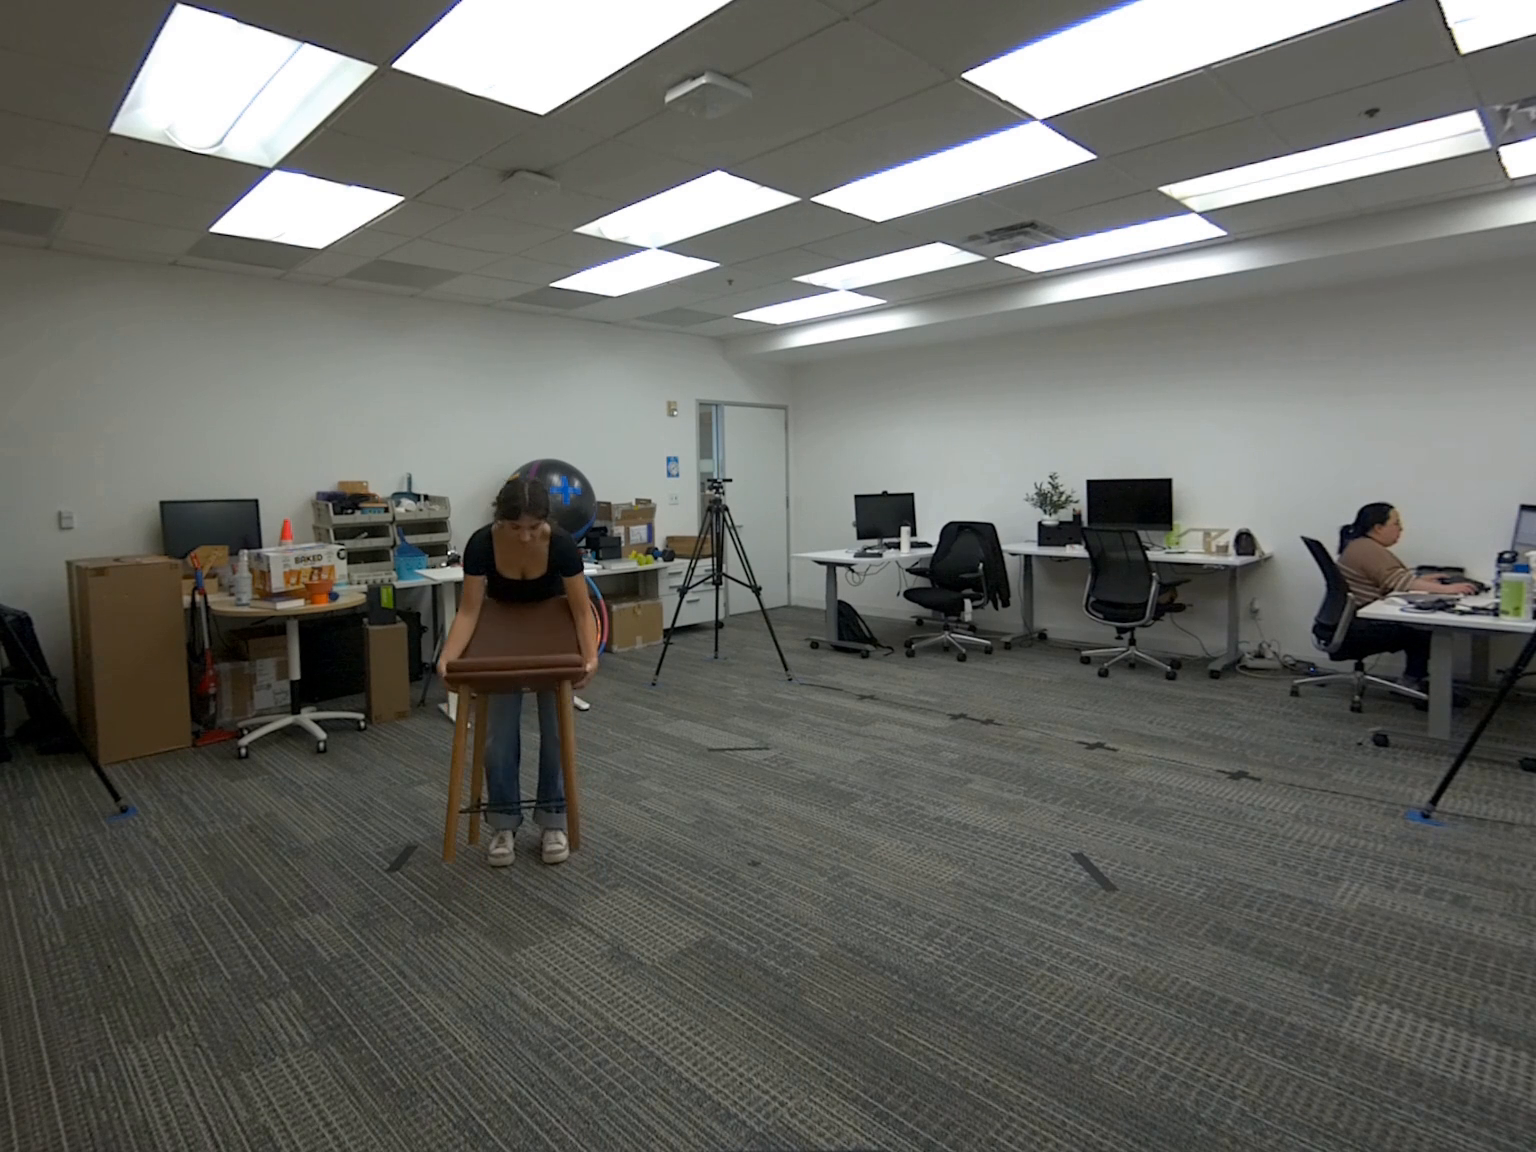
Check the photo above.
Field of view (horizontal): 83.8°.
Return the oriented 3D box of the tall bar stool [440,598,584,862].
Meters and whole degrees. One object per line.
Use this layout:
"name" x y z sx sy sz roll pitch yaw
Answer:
"tall bar stool" -0.853 0.472 2.903 0.453 0.902 0.465 -2 -14 -9
